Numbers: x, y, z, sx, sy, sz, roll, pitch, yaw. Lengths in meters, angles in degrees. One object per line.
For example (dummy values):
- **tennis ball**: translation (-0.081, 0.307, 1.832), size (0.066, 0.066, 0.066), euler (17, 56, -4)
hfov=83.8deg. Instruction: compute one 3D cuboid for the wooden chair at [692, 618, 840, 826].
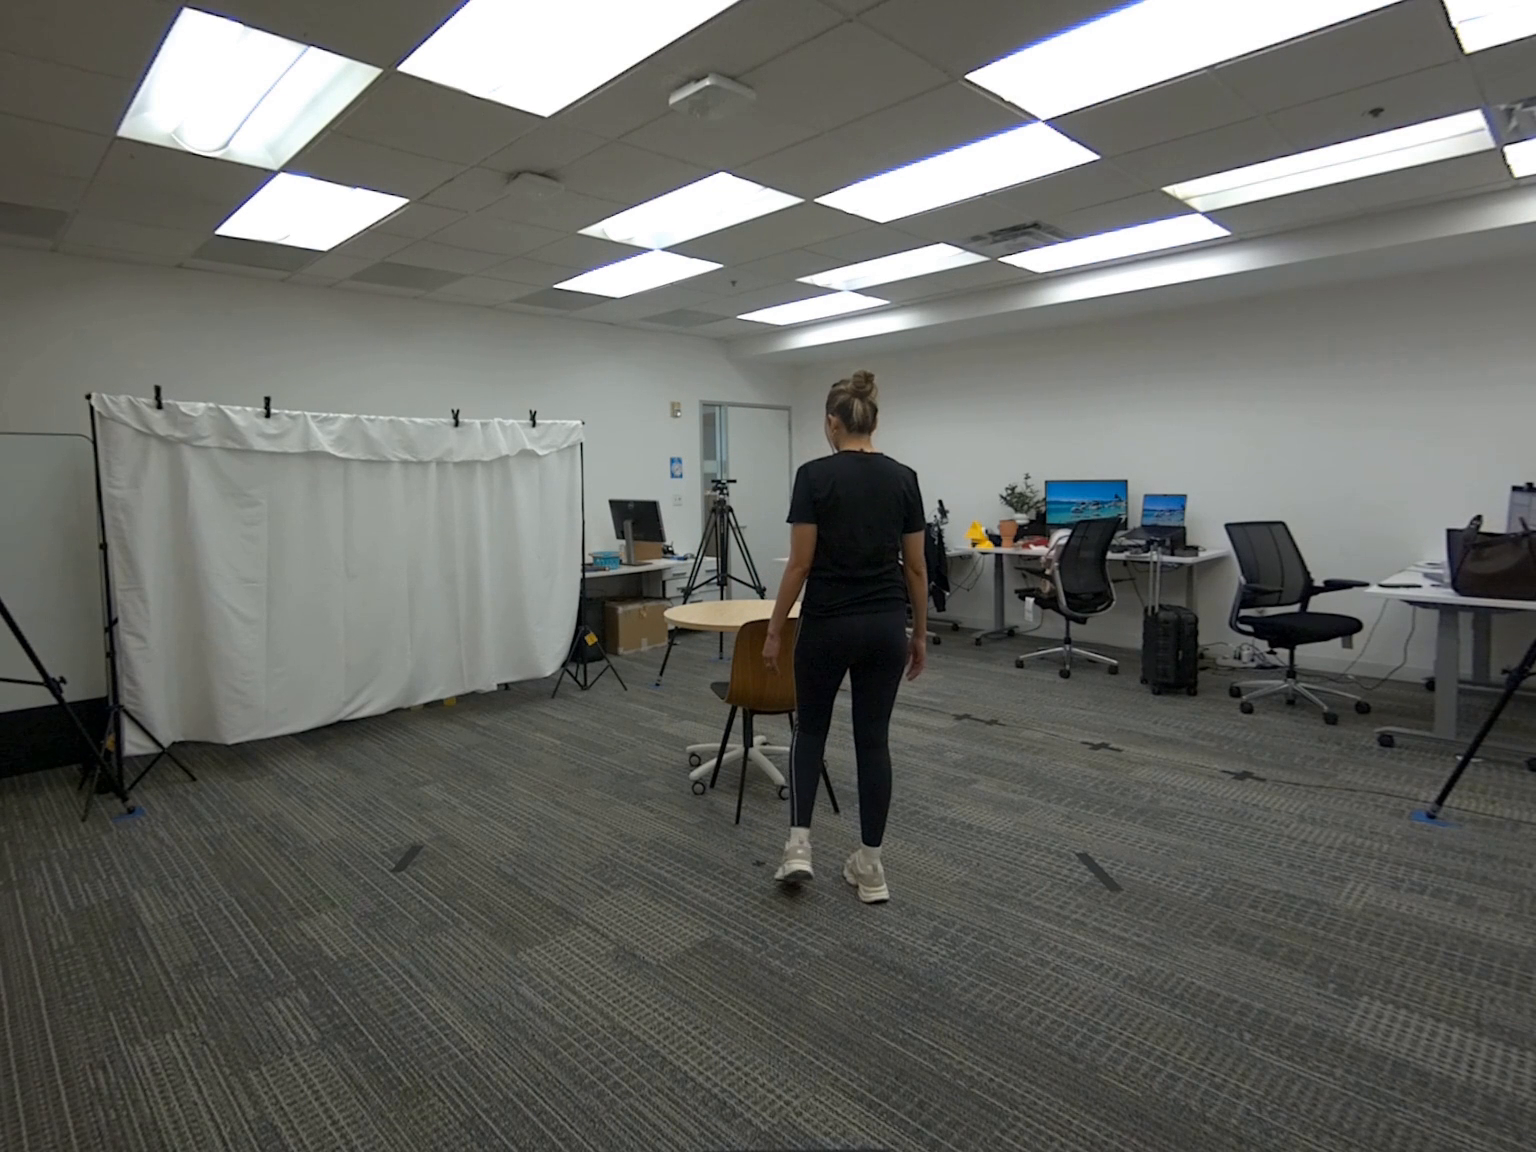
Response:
- **wooden chair**: translation (0.003, 0.551, 3.707), size (0.471, 0.872, 0.534), euler (-2, 8, -16)
